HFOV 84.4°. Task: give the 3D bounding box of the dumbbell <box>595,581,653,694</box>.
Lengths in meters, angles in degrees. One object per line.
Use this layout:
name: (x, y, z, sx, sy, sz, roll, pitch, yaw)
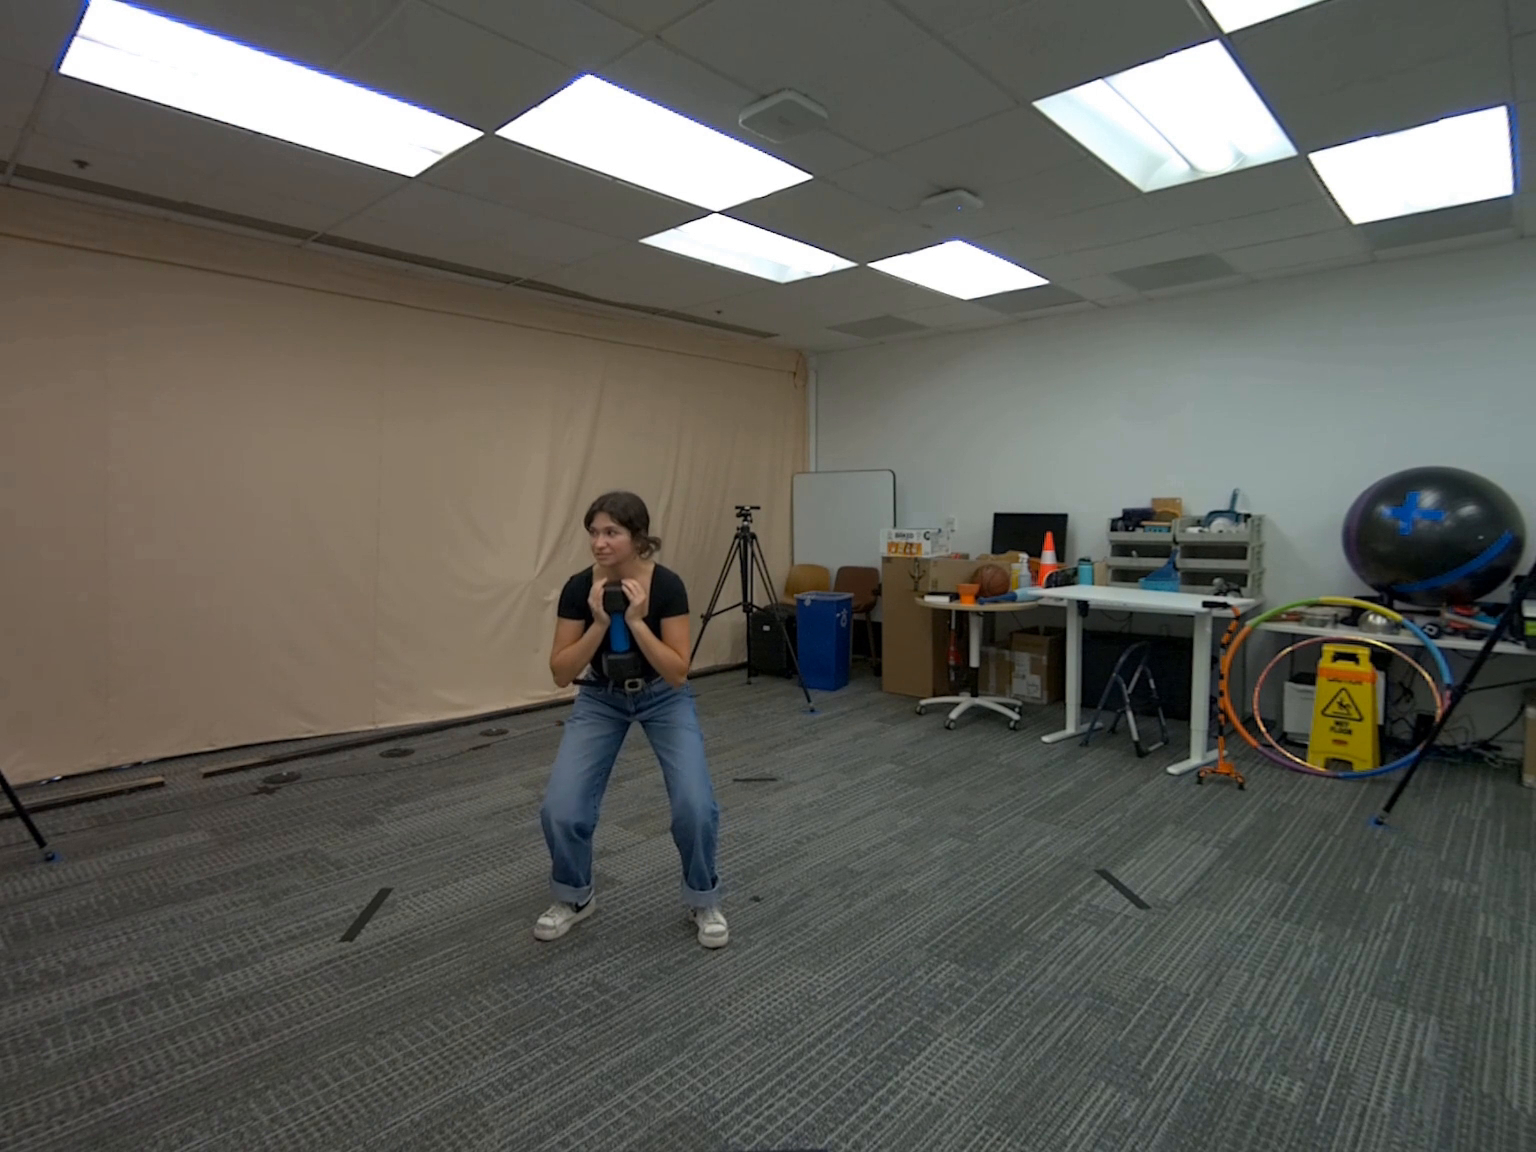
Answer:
dumbbell: (-0.458, 0.174, 2.611, 0.112, 0.291, 0.120, 8, 16, 30)
